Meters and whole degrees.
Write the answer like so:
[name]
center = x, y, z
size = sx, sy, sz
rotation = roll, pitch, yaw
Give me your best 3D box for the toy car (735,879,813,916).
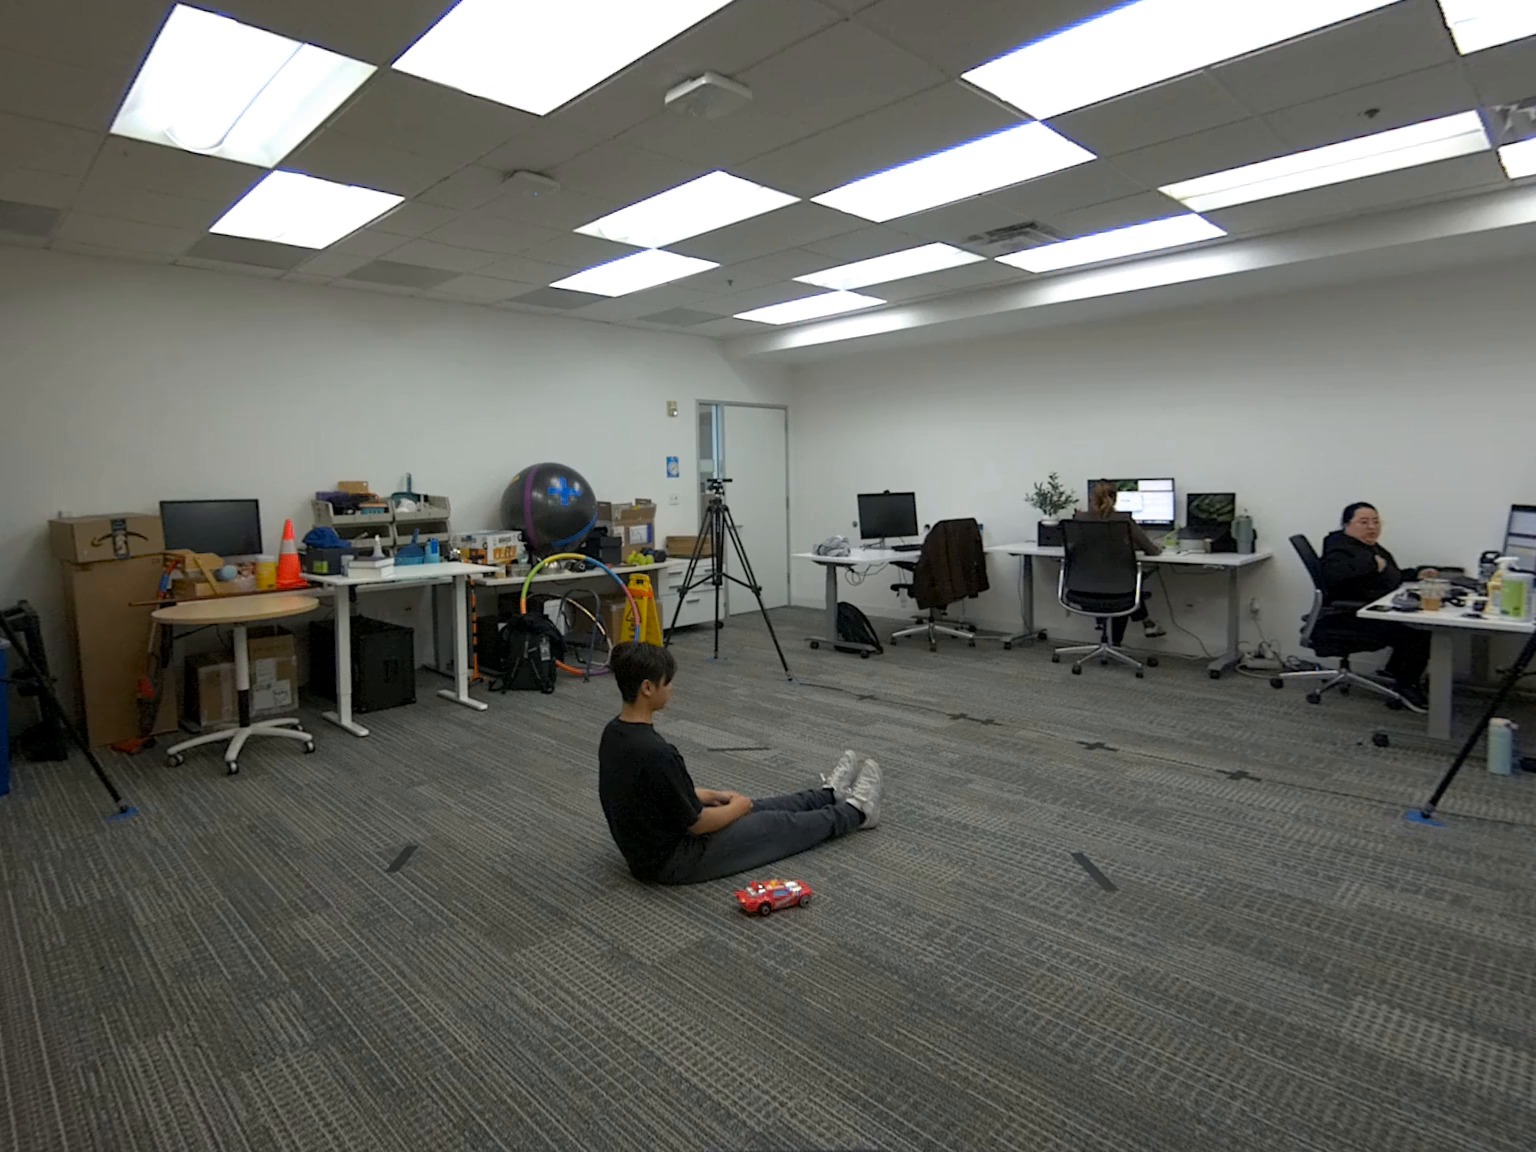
[toy car]
center = 0.016, 1.056, 2.782
size = 0.249, 0.083, 0.133
rotation = 9, 1, -20
